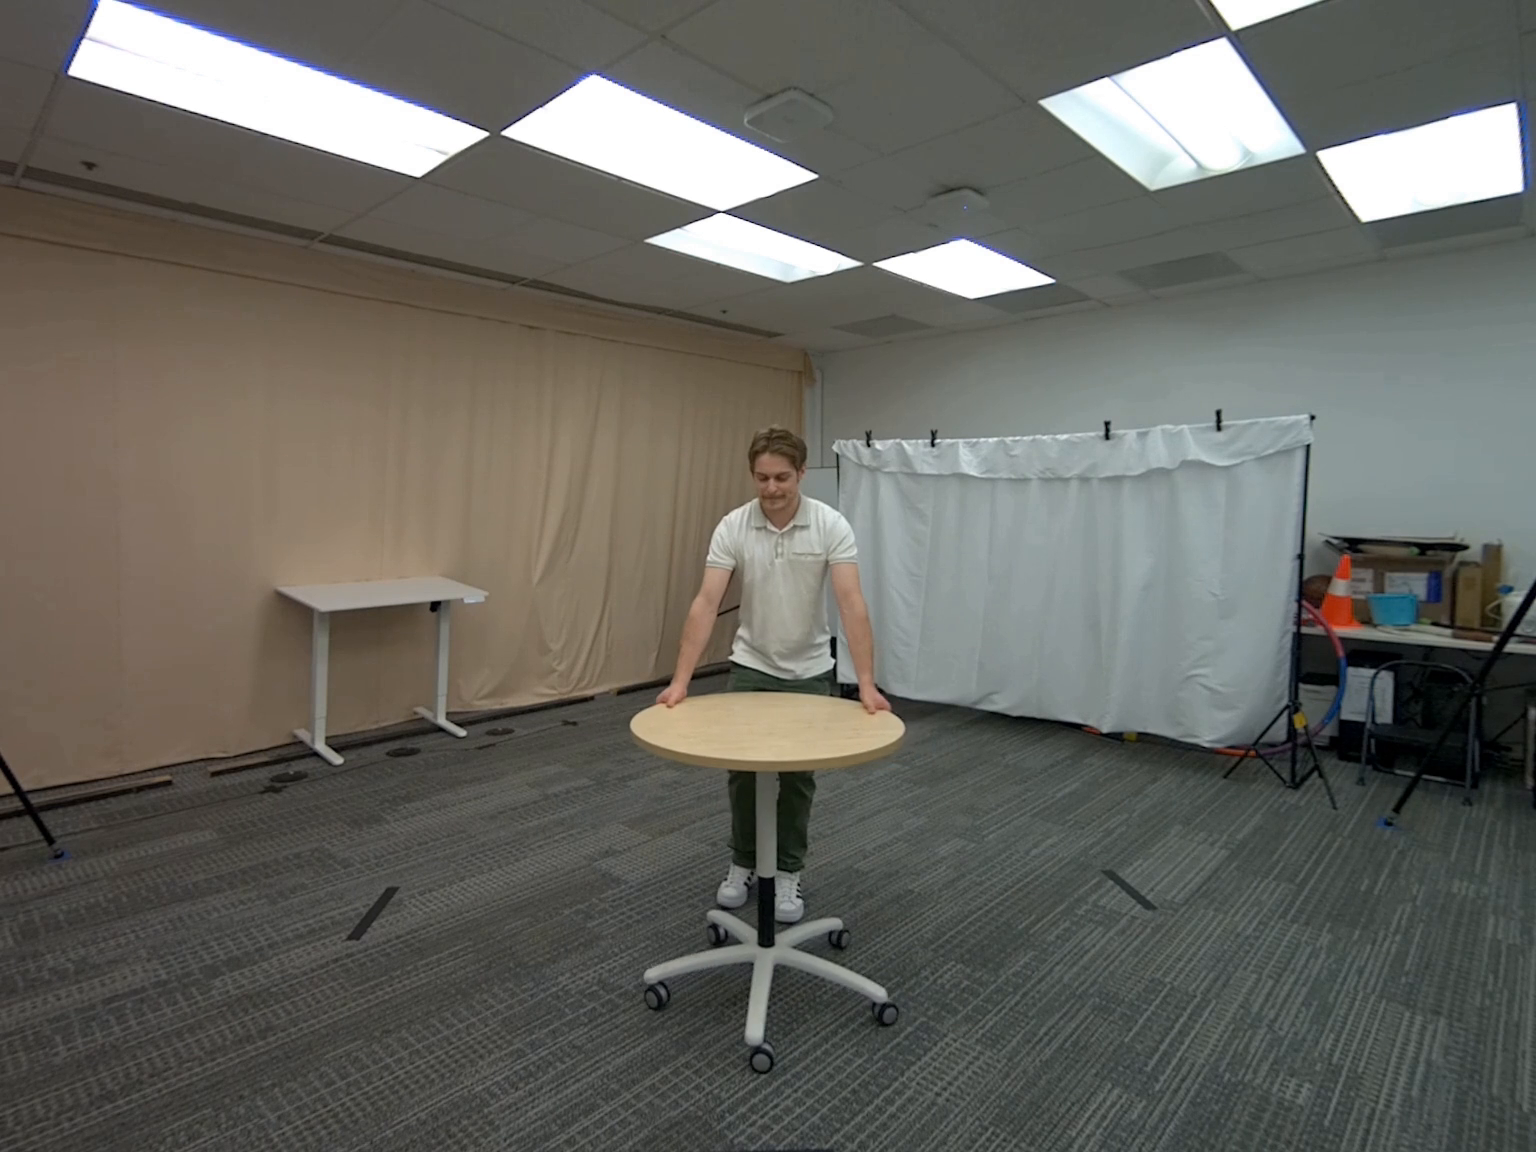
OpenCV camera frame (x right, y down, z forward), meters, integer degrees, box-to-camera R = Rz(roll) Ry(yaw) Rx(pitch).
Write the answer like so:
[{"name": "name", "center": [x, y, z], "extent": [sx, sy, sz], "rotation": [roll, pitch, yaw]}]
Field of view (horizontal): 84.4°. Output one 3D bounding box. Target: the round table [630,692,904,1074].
[{"name": "round table", "center": [-0.002, 0.802, 2.399], "extent": [0.763, 0.792, 0.766], "rotation": [0, 3, -2]}]
